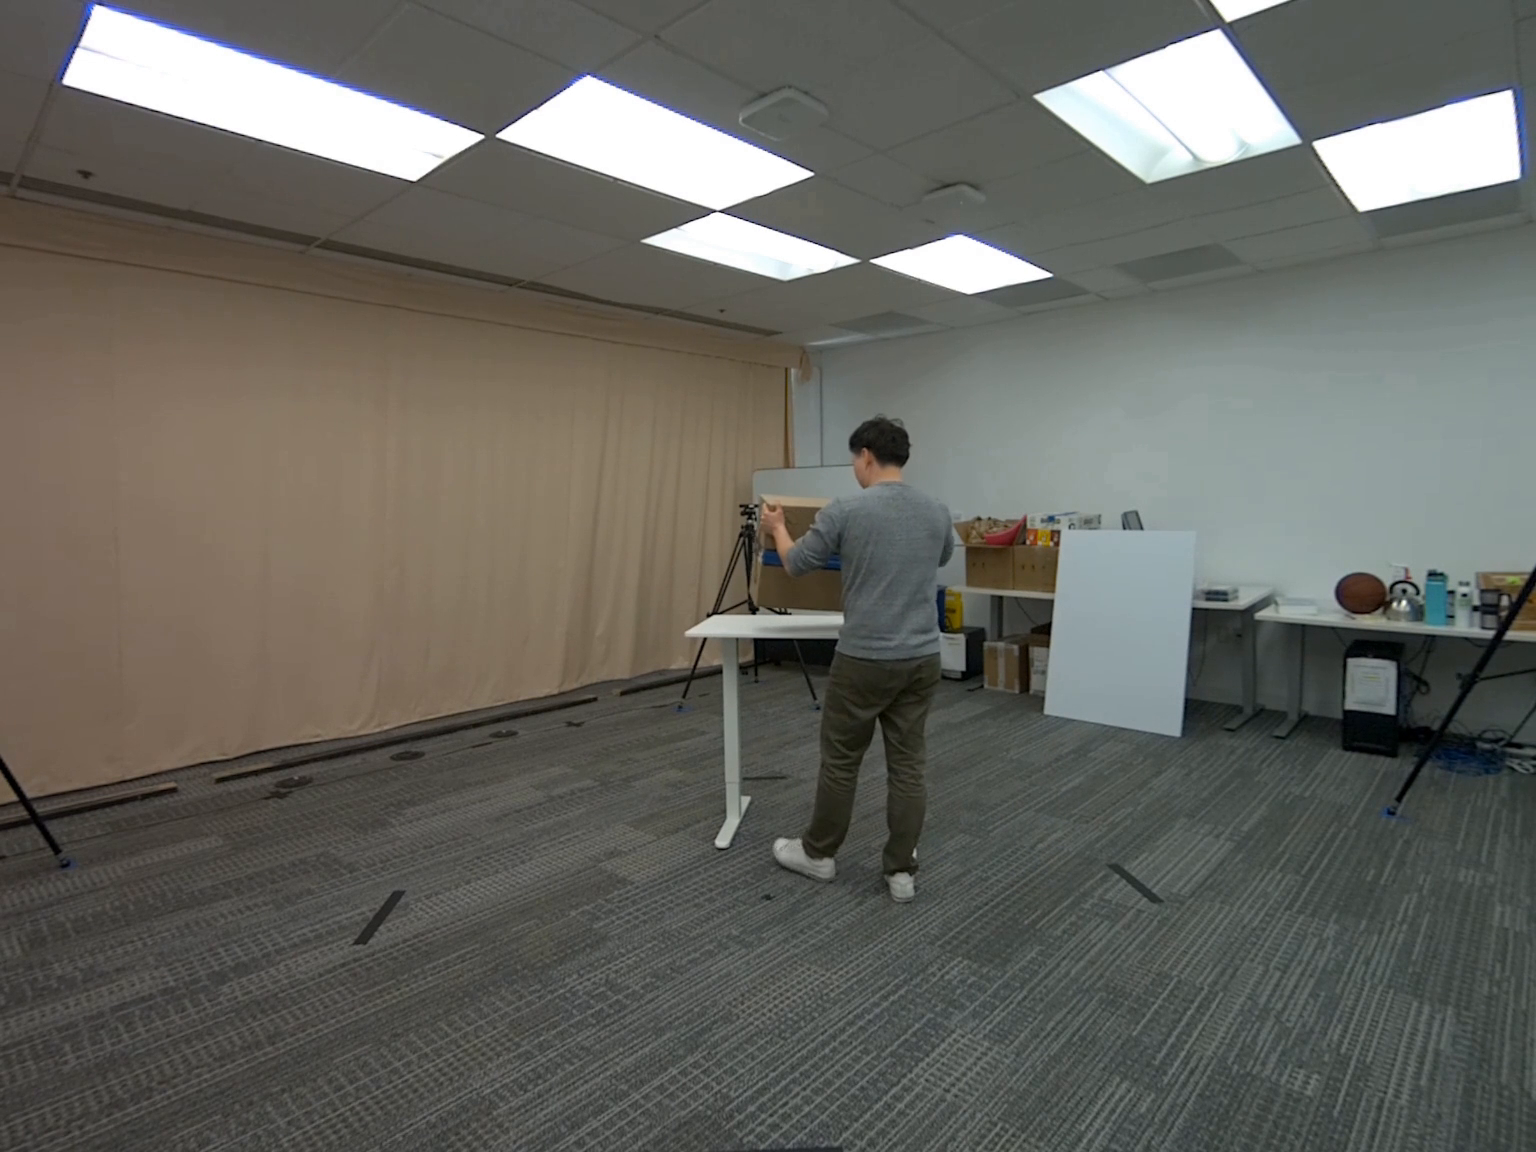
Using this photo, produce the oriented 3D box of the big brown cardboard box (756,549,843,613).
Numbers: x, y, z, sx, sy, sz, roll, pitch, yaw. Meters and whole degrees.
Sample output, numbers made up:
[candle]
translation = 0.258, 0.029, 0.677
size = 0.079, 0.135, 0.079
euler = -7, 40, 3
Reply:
[big brown cardboard box]
translation = 0.241, -0.088, 3.386
size = 0.585, 0.414, 0.236
euler = 4, 14, -6
